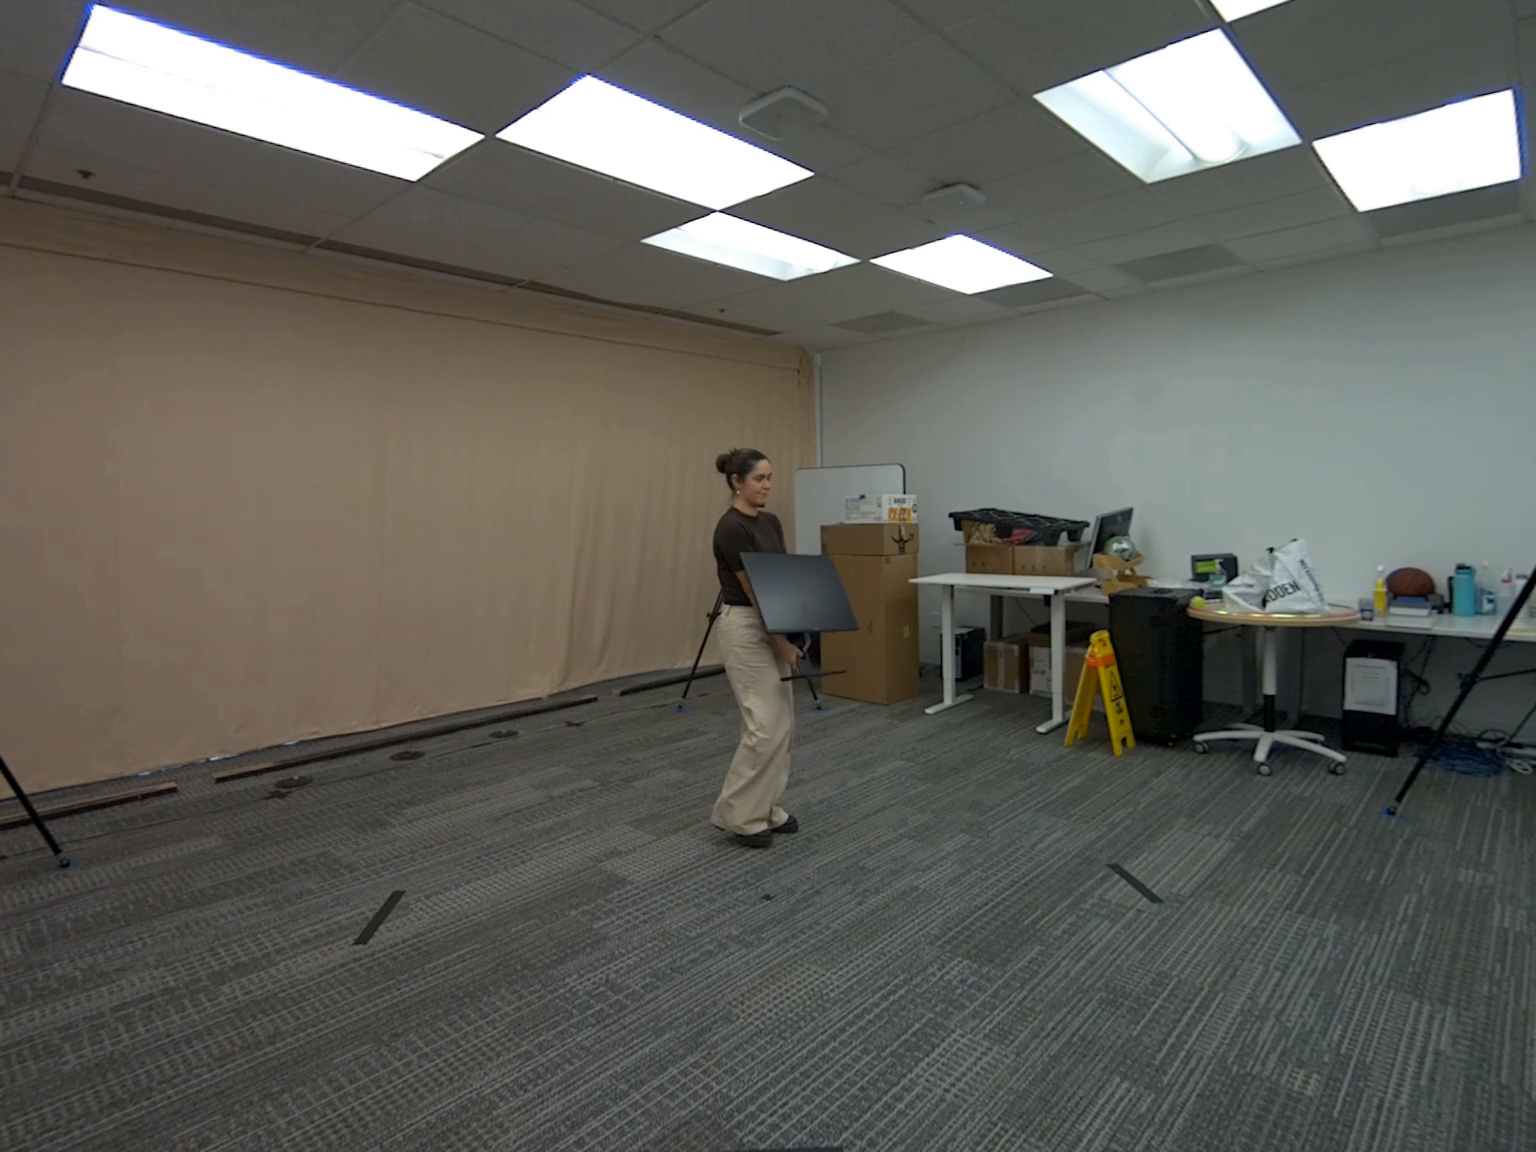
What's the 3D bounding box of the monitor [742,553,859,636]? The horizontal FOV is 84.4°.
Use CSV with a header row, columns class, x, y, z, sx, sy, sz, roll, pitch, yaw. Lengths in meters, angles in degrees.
class,x,y,z,sx,sy,sz,roll,pitch,yaw
monitor,0.144,0.161,3.413,0.521,0.528,0.191,2,-17,-45
